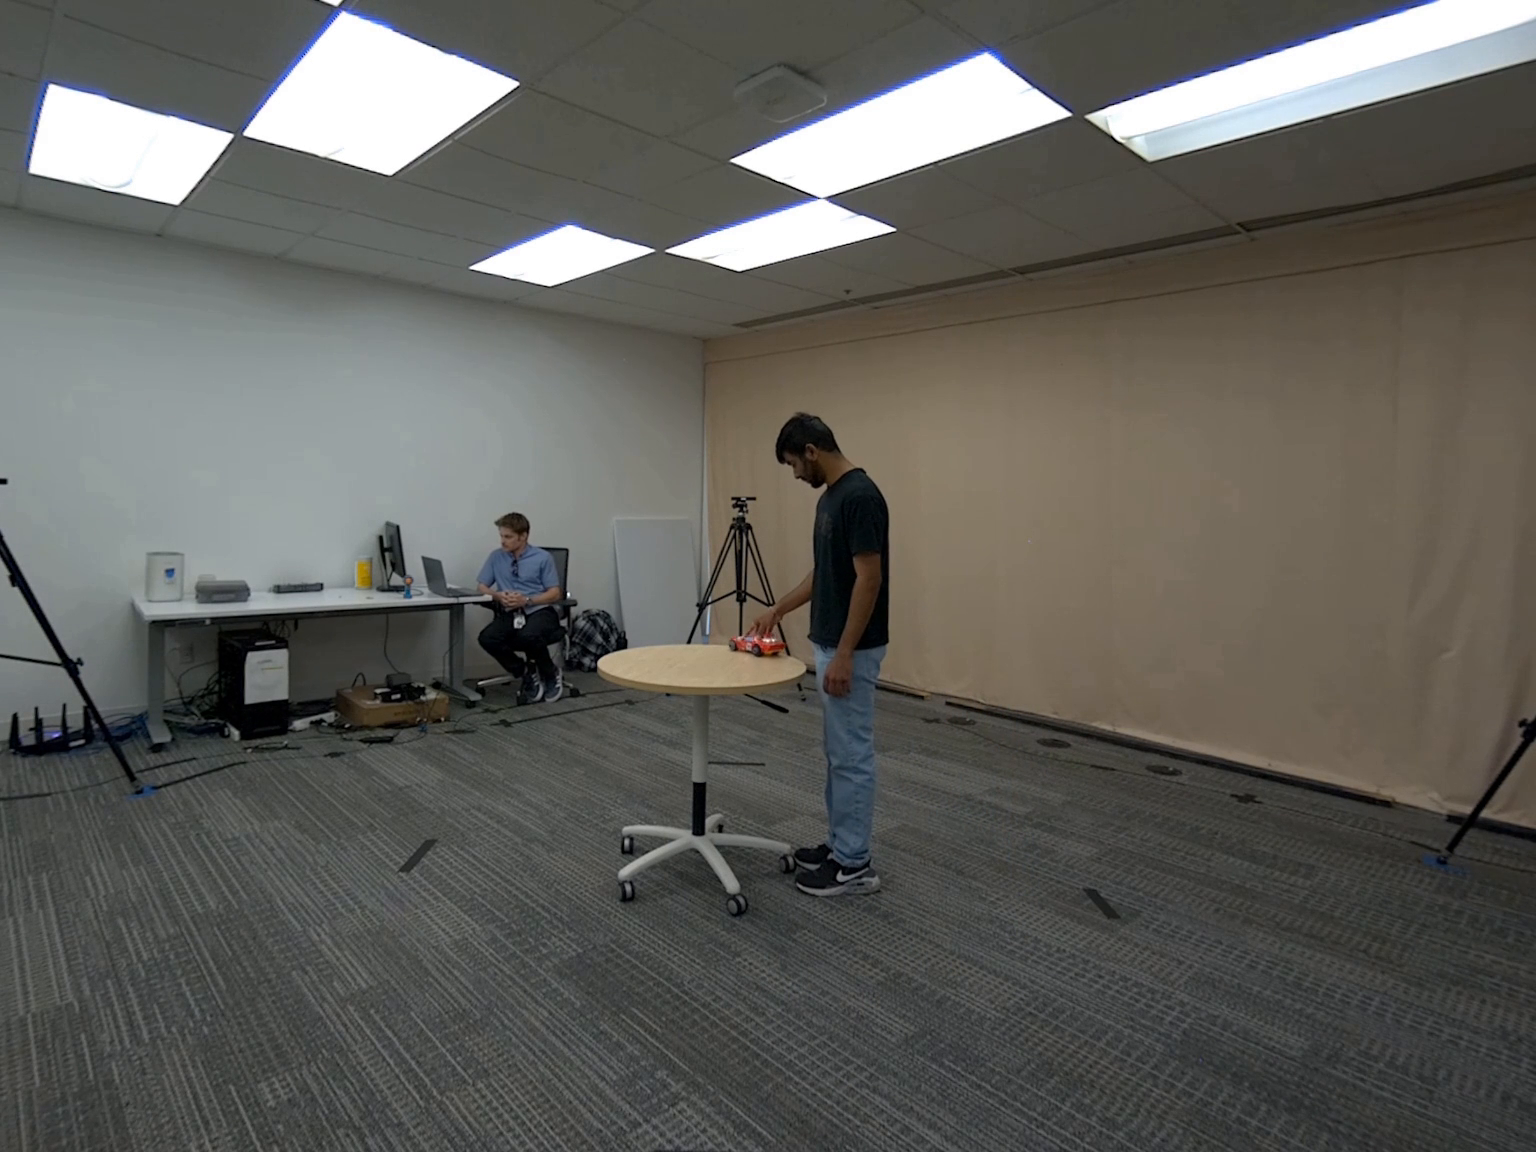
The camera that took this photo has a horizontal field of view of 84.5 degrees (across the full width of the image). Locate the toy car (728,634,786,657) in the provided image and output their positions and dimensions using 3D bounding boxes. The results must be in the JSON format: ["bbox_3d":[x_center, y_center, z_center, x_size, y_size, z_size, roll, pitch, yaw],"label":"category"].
[{"bbox_3d":[-0.047,0.277,3.320,0.127,0.083,0.259,-3,-3,-42],"label":"toy car"}]
